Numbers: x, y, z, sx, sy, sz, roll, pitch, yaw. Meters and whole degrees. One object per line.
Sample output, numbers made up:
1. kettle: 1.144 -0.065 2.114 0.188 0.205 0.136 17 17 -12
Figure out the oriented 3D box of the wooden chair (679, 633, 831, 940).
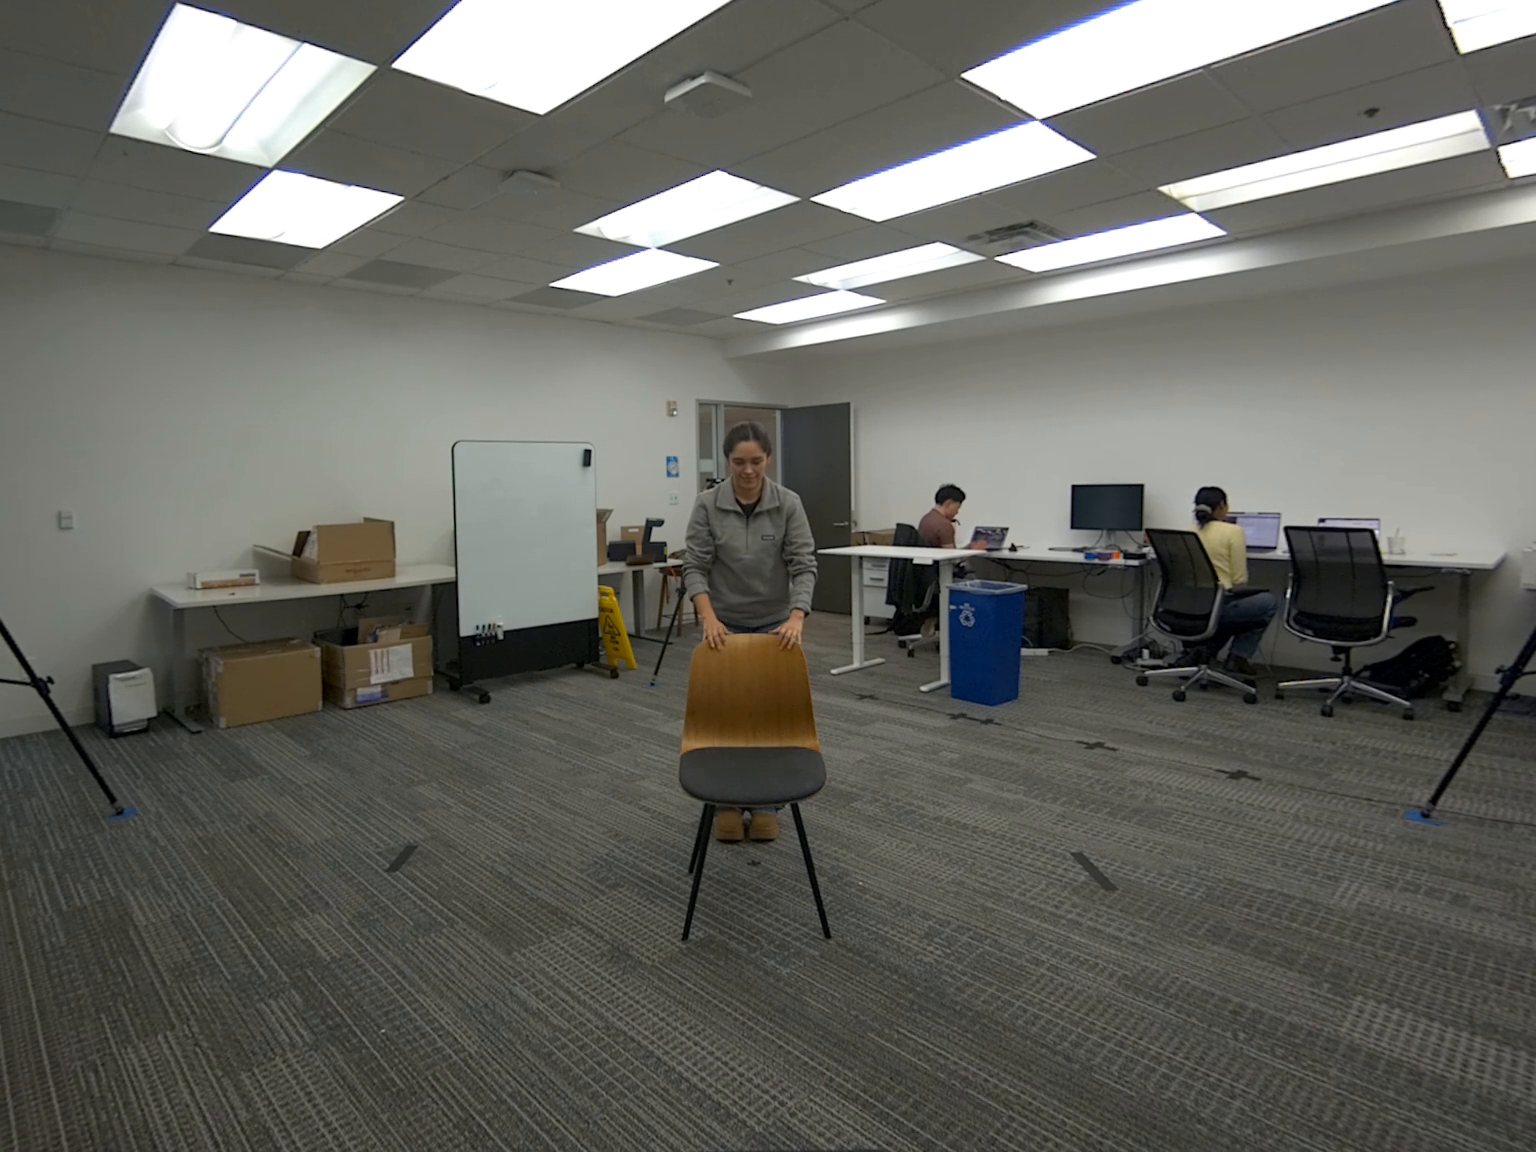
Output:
1. wooden chair: -0.053 0.660 2.768 0.478 0.878 0.523 0 0 -2
